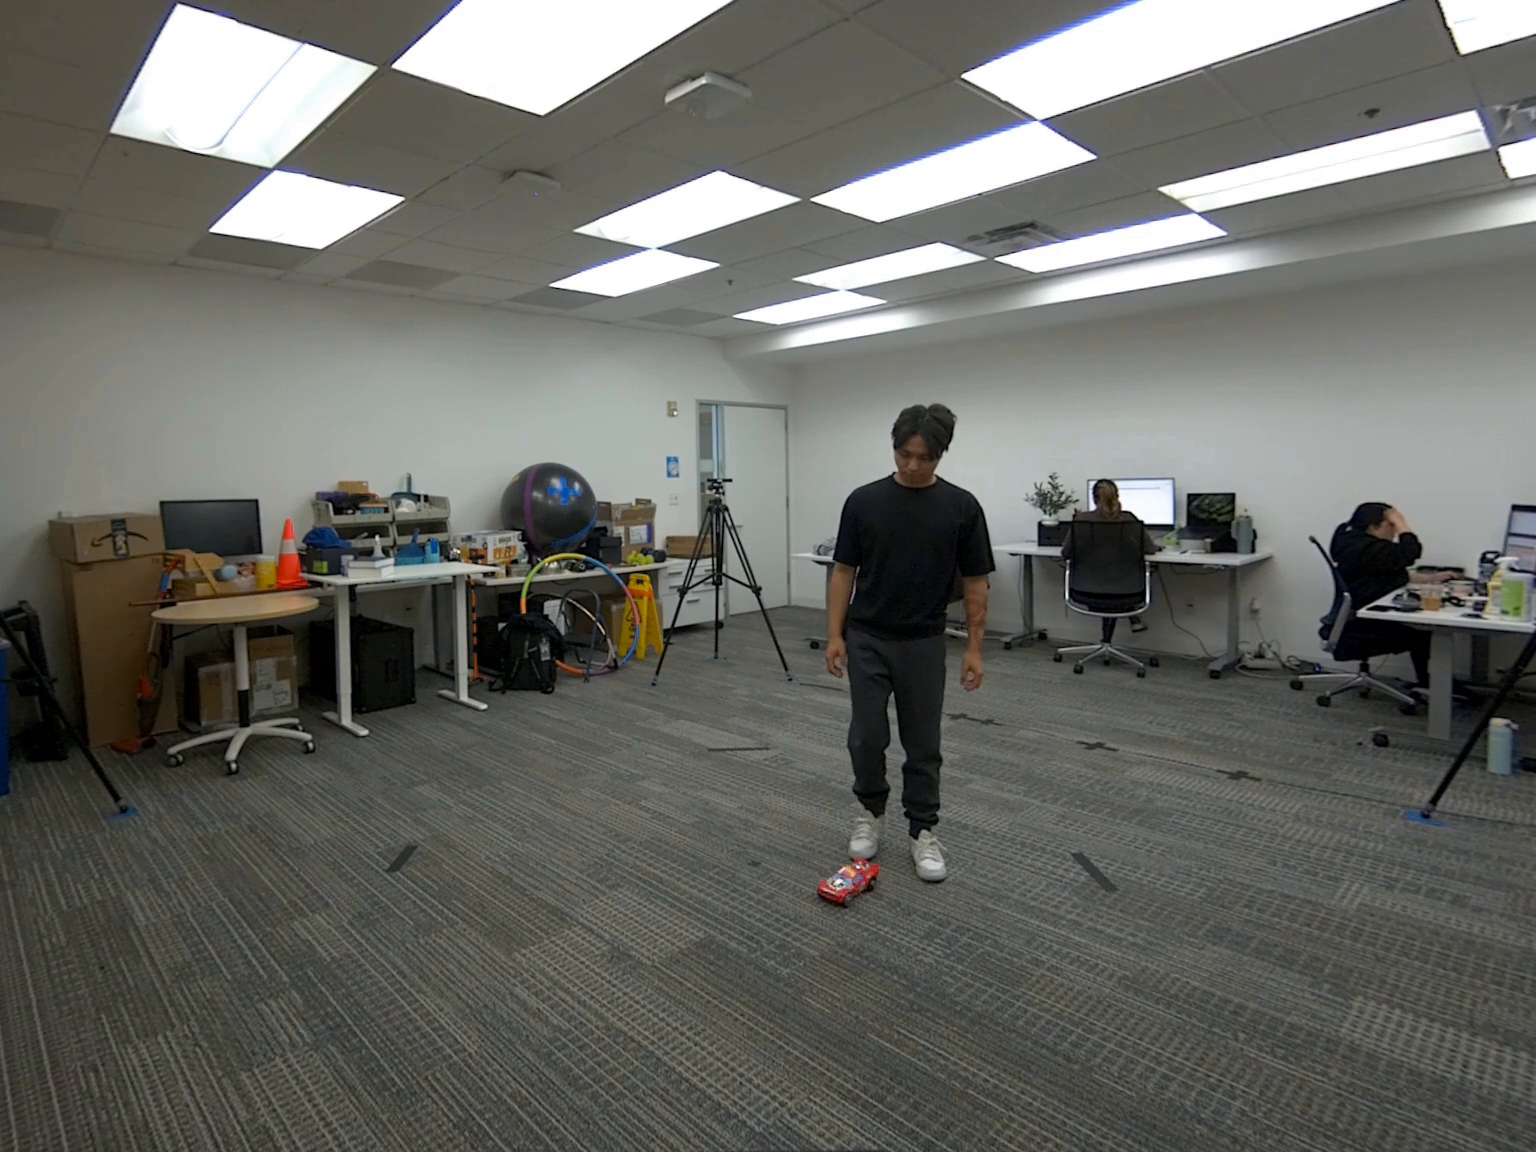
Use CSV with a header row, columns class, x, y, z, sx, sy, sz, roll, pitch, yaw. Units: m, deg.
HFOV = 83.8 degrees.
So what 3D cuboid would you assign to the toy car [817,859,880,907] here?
class,x,y,z,sx,sy,sz,roll,pitch,yaw
toy car,0.282,1.032,2.886,0.134,0.082,0.250,3,18,41
